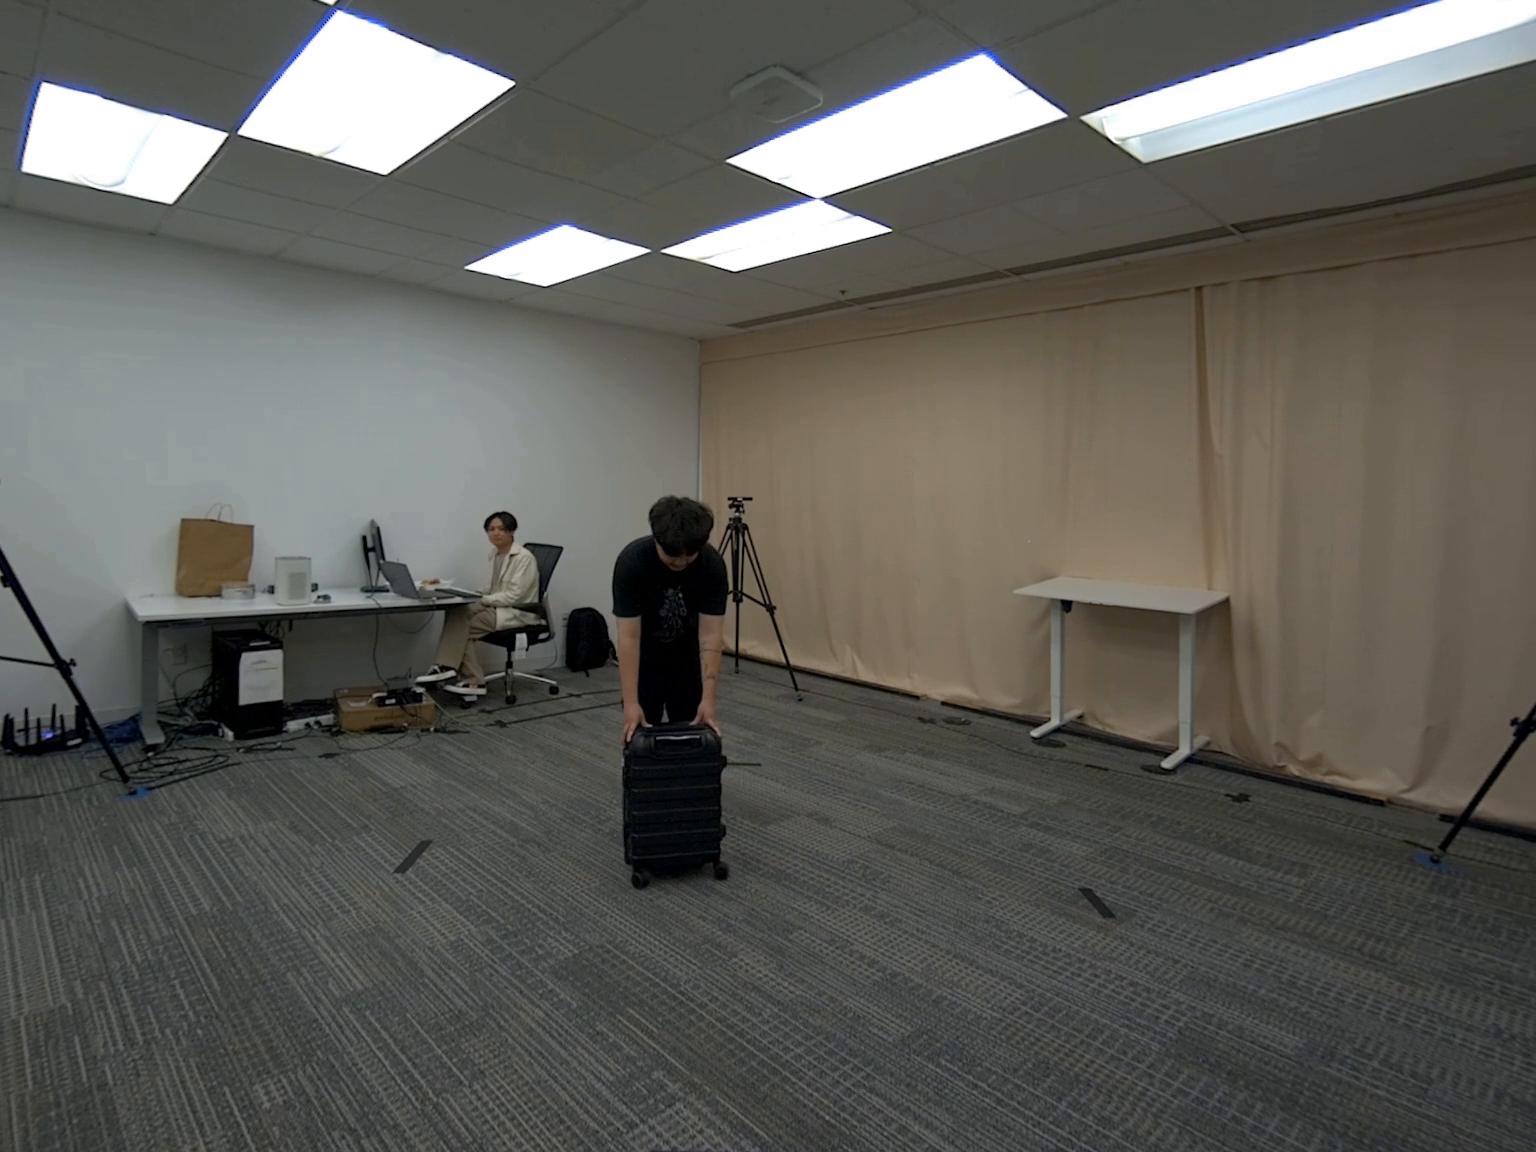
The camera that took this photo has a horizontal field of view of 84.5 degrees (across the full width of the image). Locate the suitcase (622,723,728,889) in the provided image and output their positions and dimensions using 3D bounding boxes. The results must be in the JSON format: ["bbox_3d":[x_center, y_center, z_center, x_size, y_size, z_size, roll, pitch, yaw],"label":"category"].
[{"bbox_3d":[-0.364,0.825,3.144,0.371,0.548,0.251,-1,2,-15],"label":"suitcase"}]
